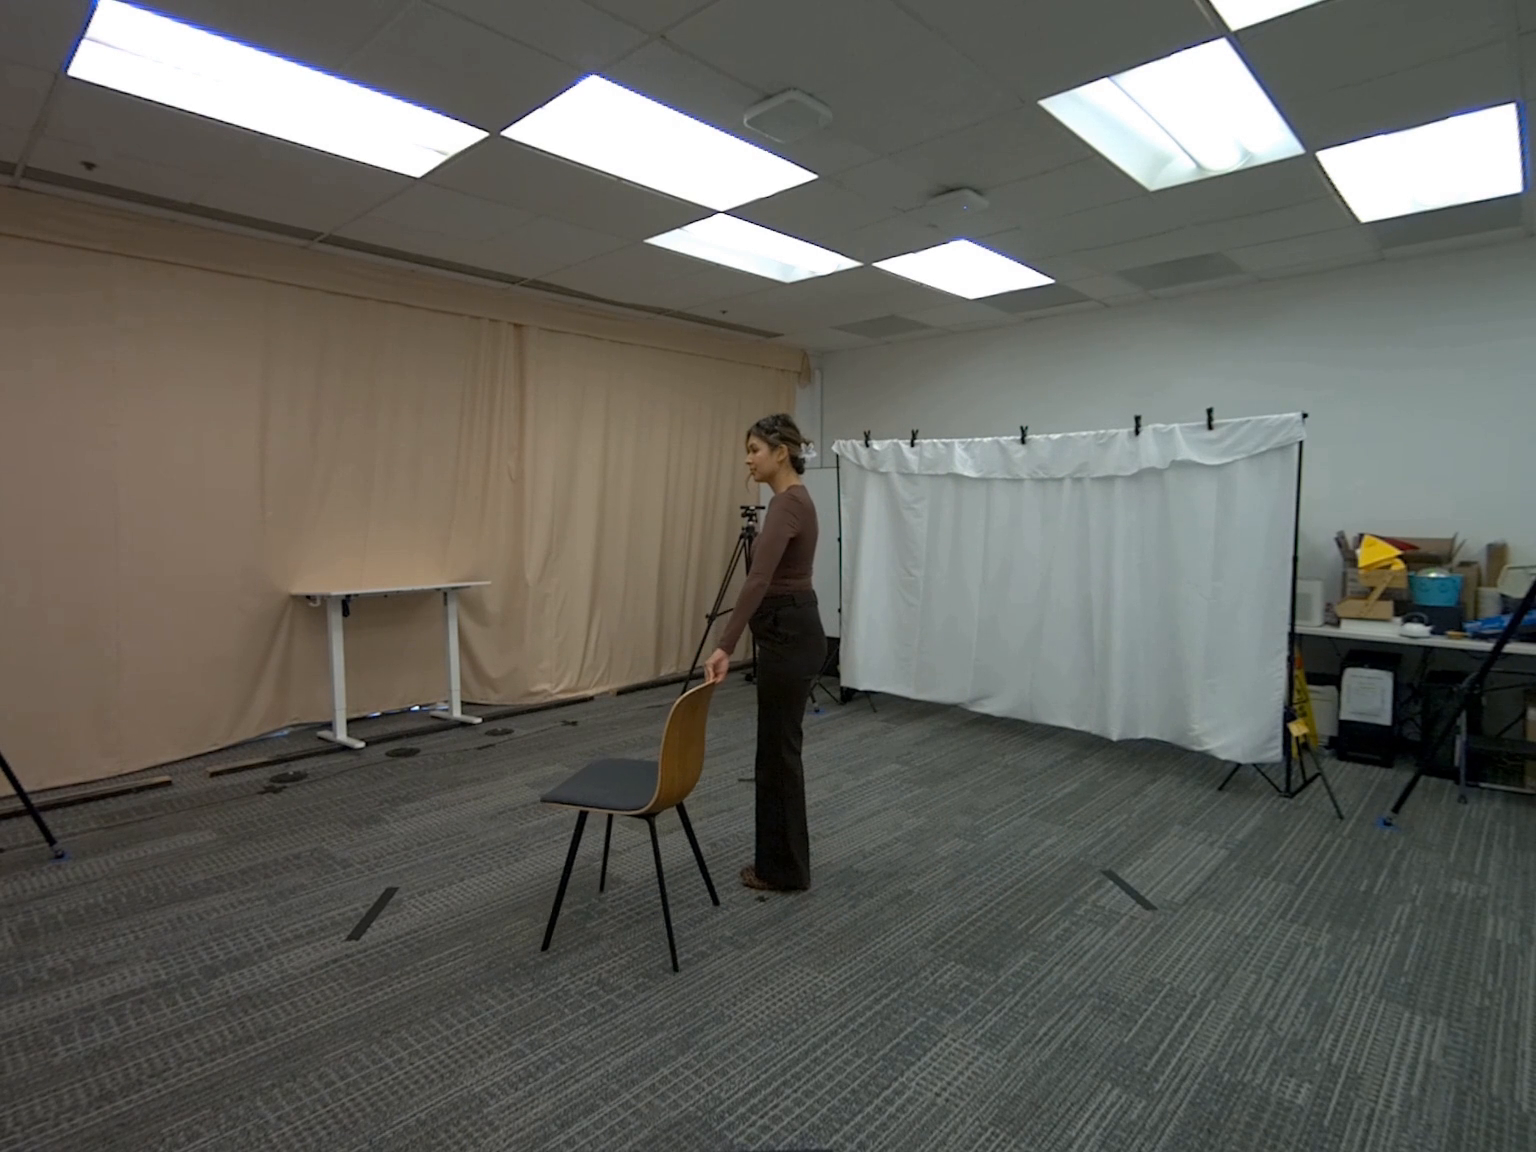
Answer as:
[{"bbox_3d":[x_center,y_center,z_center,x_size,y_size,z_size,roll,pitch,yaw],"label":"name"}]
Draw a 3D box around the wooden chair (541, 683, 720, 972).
[{"bbox_3d":[-0.446,0.739,2.754,0.532,0.875,0.471,5,4,14],"label":"wooden chair"}]
